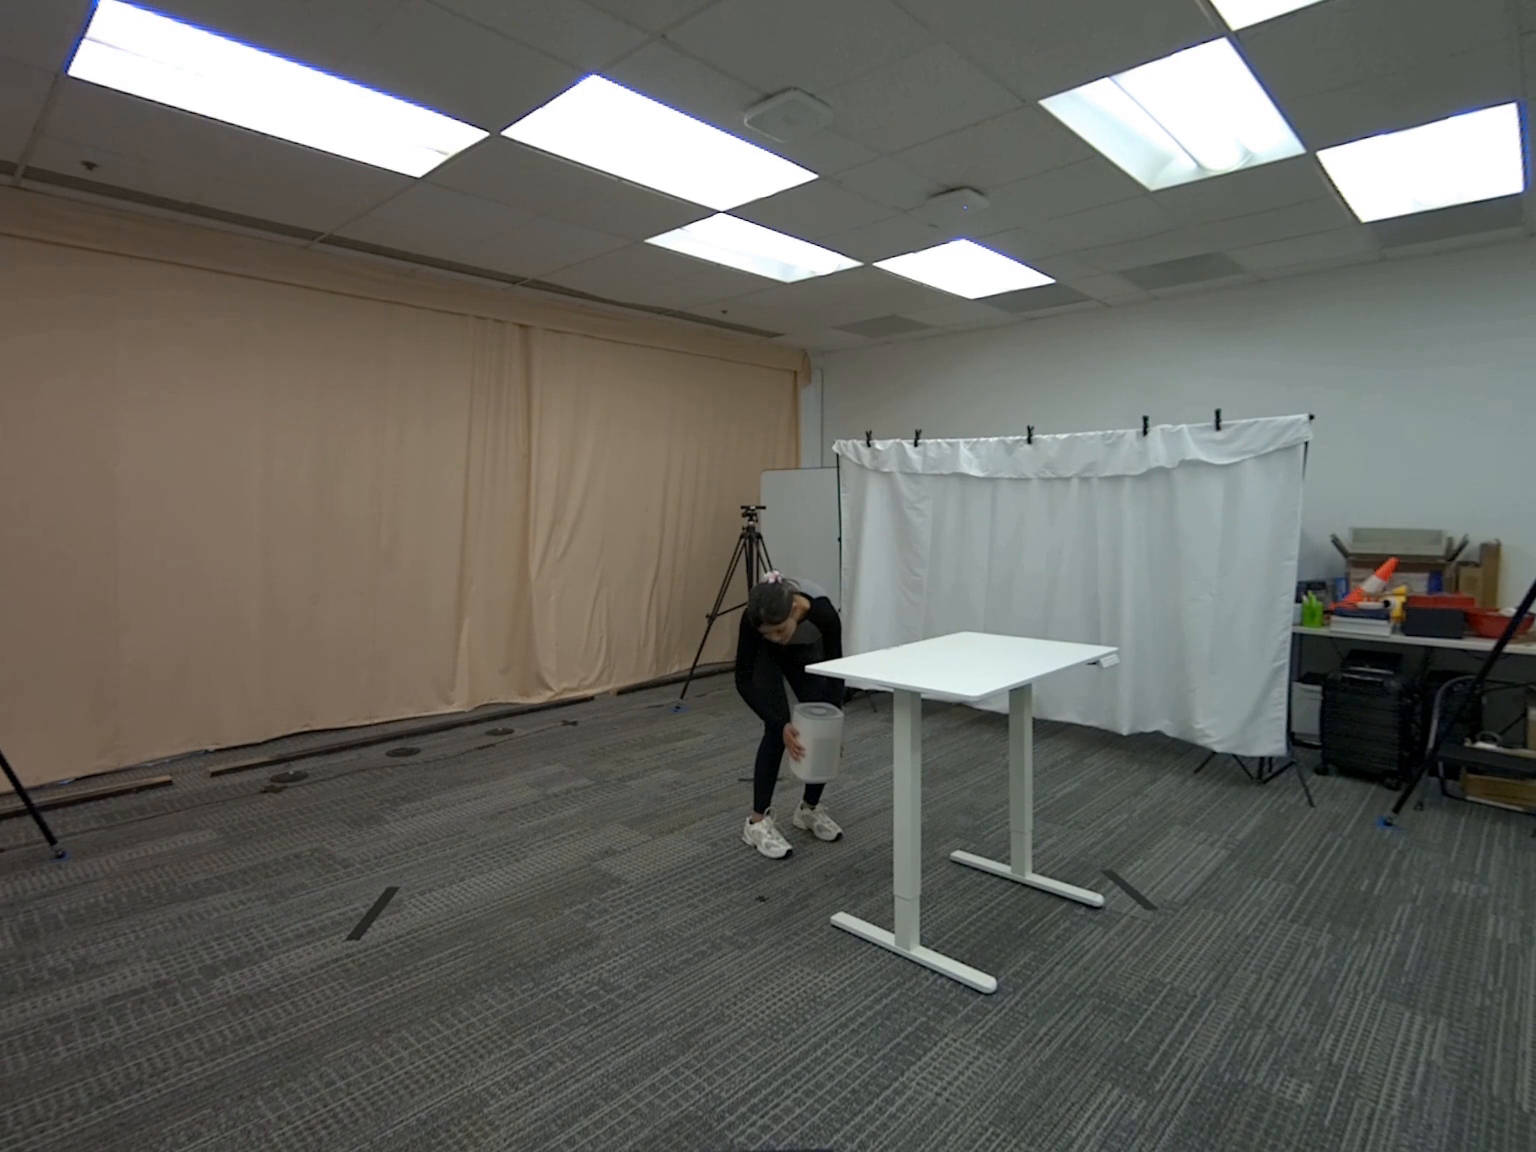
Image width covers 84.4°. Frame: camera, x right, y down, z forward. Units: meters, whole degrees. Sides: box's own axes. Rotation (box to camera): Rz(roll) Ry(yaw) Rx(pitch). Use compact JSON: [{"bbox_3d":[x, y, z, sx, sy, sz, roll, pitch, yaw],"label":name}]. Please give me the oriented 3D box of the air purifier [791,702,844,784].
[{"bbox_3d":[0.184,0.638,3.222,0.169,0.264,0.175,0,10,-16],"label":"air purifier"}]
